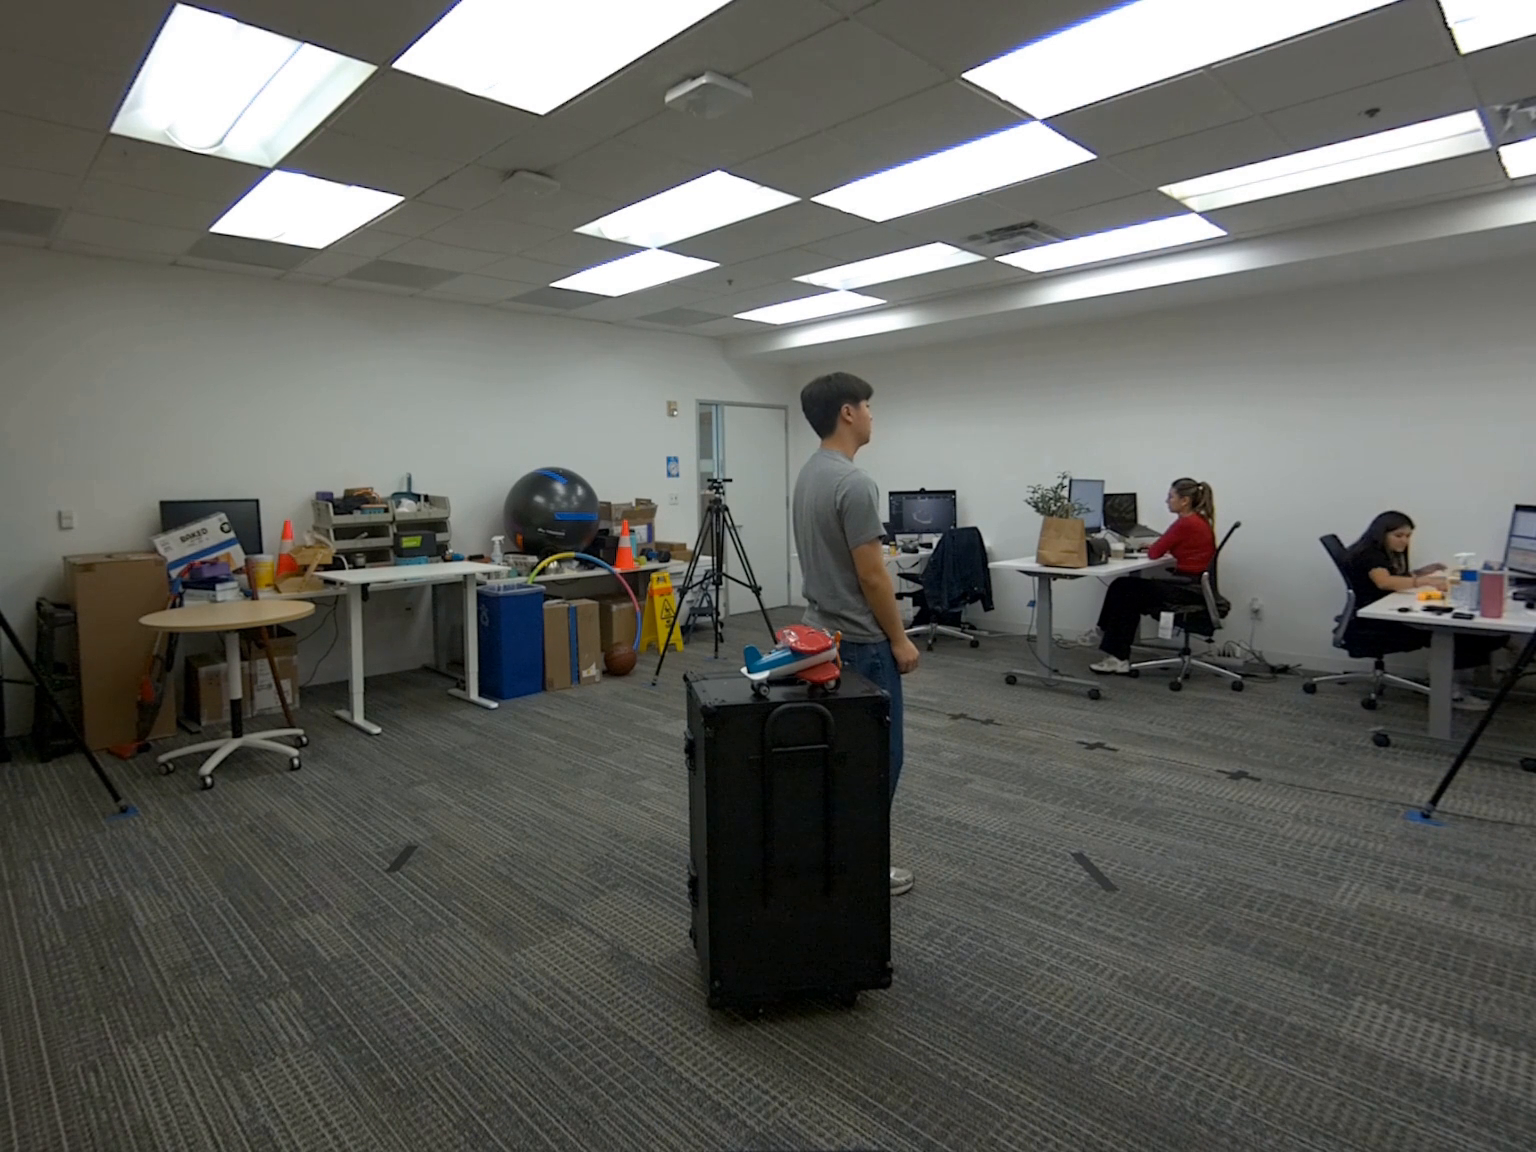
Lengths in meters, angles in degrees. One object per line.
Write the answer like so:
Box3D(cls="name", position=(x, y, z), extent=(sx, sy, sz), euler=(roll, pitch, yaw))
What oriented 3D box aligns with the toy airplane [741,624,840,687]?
Box3D(cls="toy airplane", position=(0.075, 0.226, 2.192), extent=(0.259, 0.156, 0.252), euler=(4, 7, 43))
